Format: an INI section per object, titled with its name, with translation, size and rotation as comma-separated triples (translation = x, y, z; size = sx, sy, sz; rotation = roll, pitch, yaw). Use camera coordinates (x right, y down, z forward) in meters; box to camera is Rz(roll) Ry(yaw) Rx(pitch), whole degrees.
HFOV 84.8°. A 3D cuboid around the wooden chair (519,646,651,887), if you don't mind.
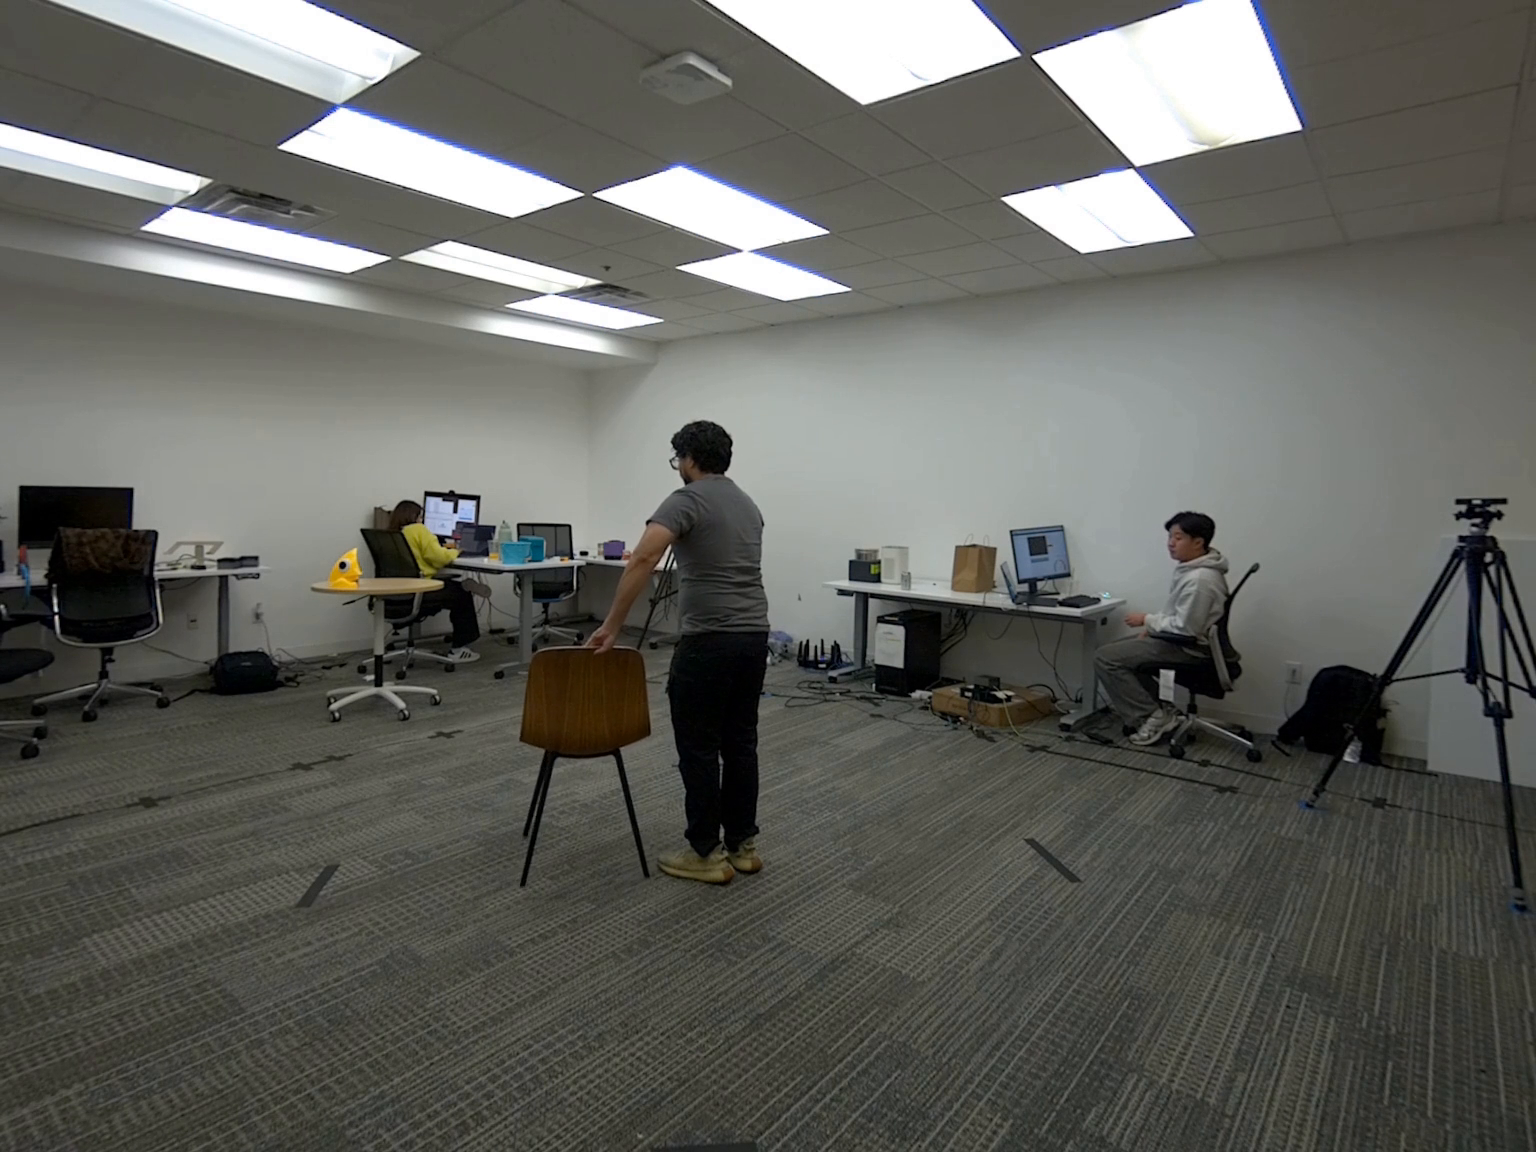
[wooden chair]
translation = -0.702, 0.626, 3.187
size = 0.472, 0.872, 0.533
rotation = 0, 7, -13
